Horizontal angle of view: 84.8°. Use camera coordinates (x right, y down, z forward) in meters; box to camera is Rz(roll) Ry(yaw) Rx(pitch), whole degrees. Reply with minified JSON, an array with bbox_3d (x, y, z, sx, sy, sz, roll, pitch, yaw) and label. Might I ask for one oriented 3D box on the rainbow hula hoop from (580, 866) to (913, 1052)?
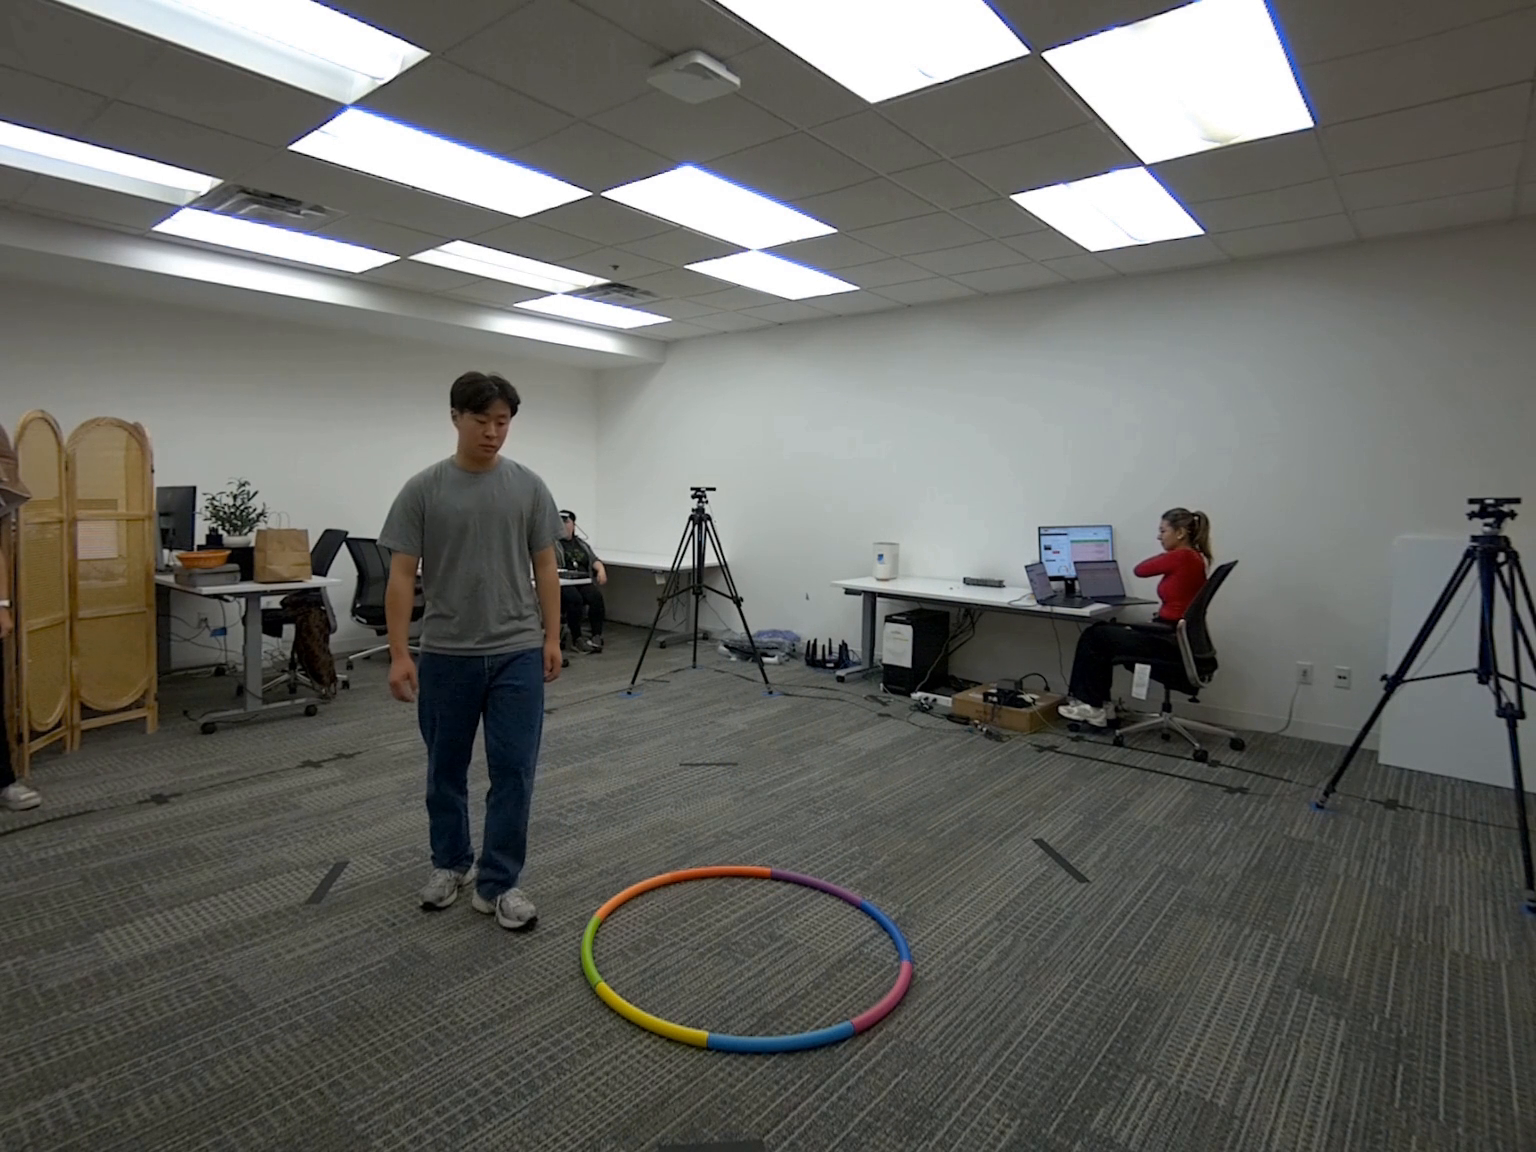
[{"bbox_3d":[-0.077,1.087,2.584,0.978,0.035,0.984,1,6,-2],"label":"rainbow hula hoop"}]
